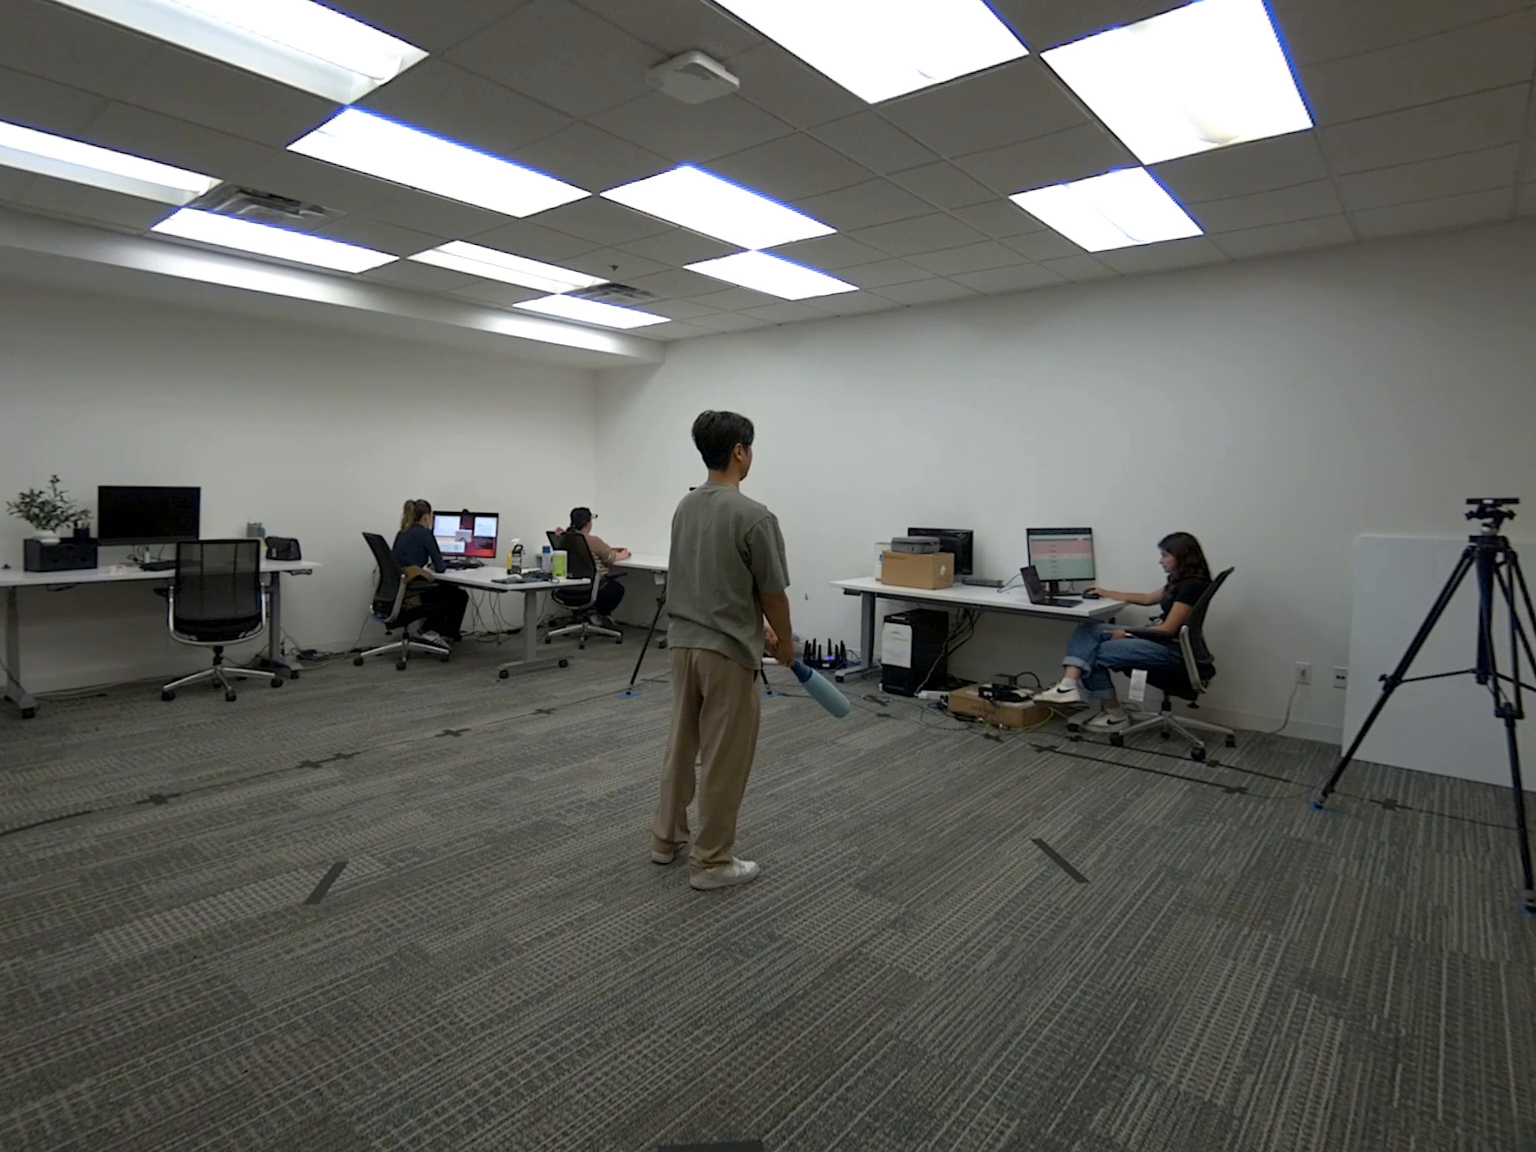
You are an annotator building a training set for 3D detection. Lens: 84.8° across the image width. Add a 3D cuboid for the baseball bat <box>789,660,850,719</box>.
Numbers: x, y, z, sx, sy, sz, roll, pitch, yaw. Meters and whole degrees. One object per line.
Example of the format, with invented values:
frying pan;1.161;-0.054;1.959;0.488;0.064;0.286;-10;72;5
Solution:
baseball bat;0.135;0.341;3.237;0.524;0.089;0.092;42;-19;-28
